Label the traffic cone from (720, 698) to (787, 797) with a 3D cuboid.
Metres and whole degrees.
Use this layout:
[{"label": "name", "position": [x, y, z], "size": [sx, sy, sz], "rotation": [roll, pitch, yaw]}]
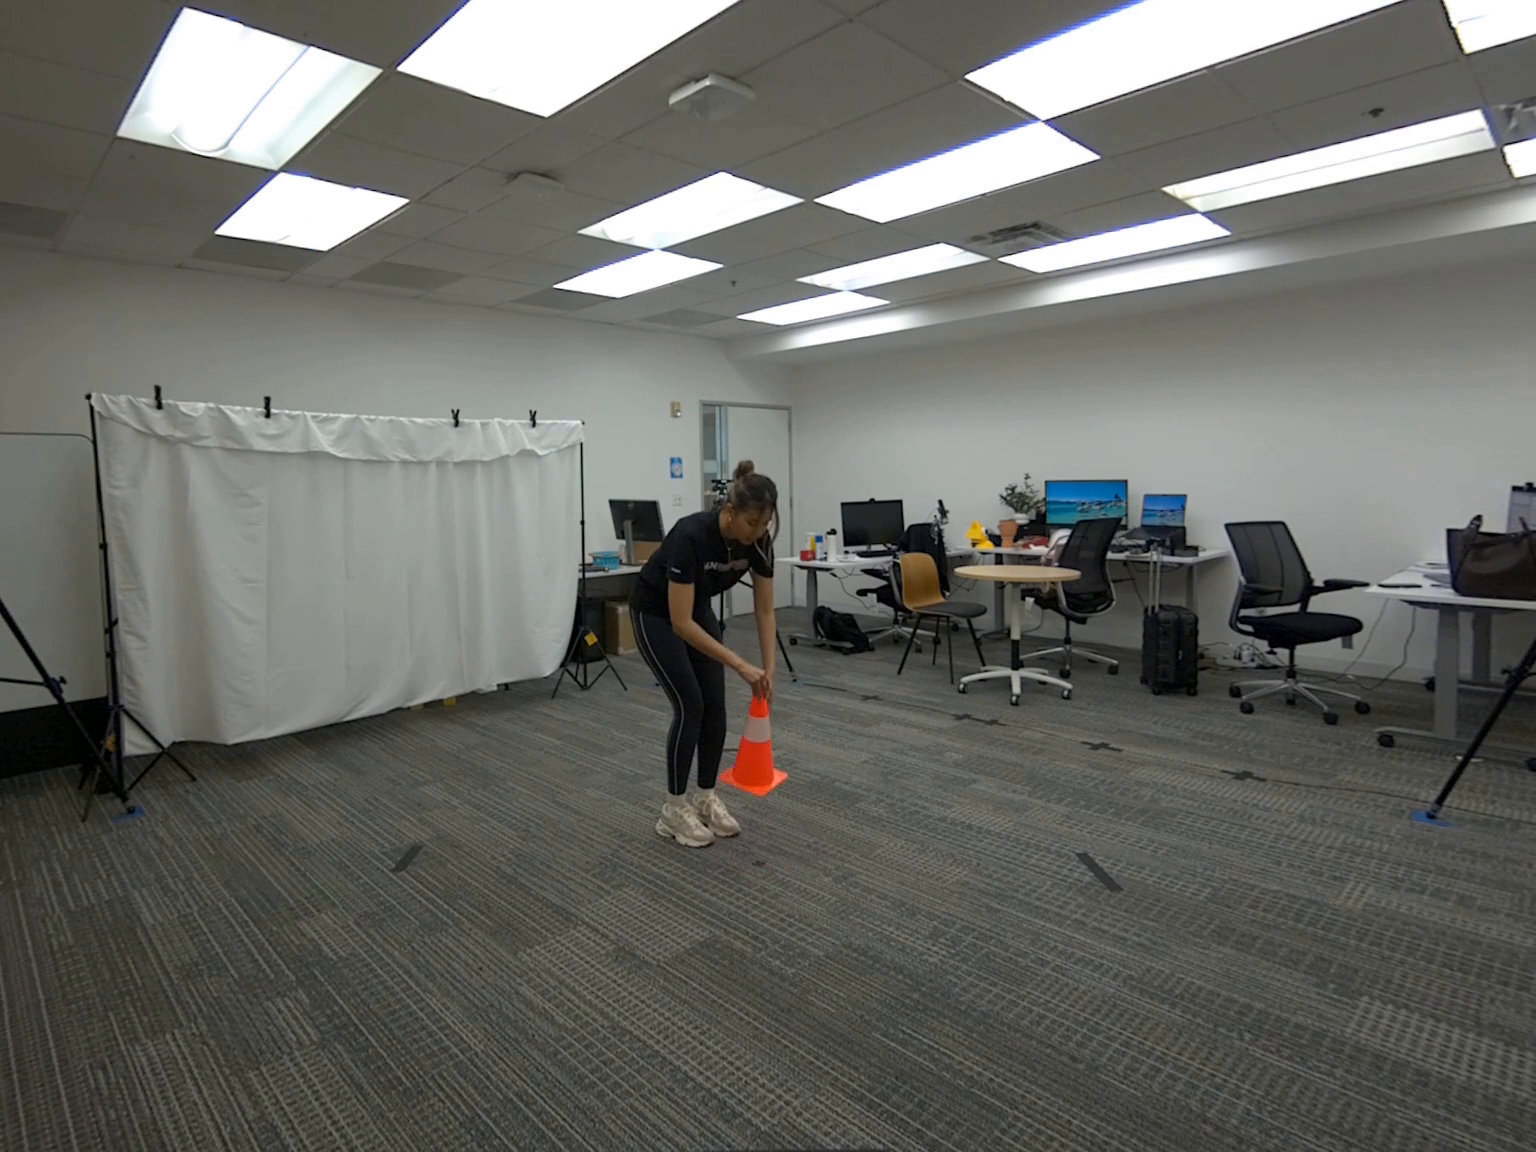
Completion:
[{"label": "traffic cone", "position": [-0.031, 0.569, 3.124], "size": [0.211, 0.379, 0.200], "rotation": [11, 17, 27]}]
